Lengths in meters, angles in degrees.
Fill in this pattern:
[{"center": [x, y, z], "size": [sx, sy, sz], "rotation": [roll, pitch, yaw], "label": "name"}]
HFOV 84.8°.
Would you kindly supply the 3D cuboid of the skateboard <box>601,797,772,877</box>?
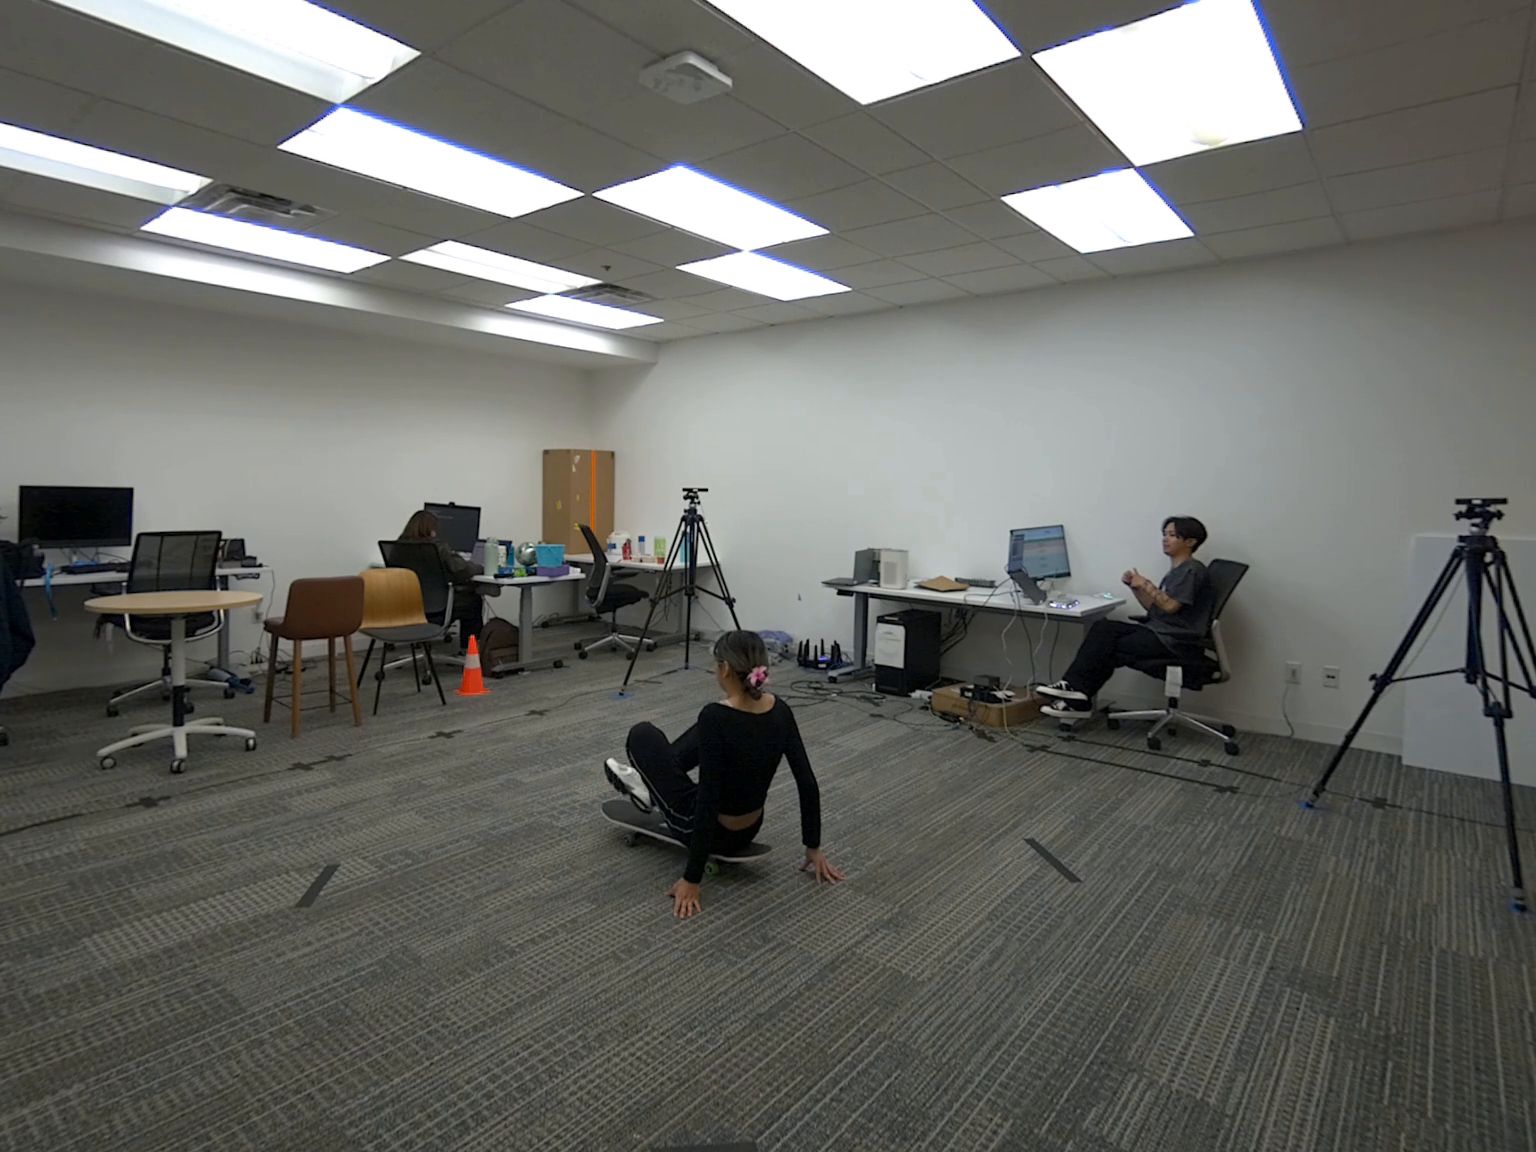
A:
[{"center": [-0.350, 0.995, 3.255], "size": [0.810, 0.110, 0.188], "rotation": [6, 6, 33], "label": "skateboard"}]
